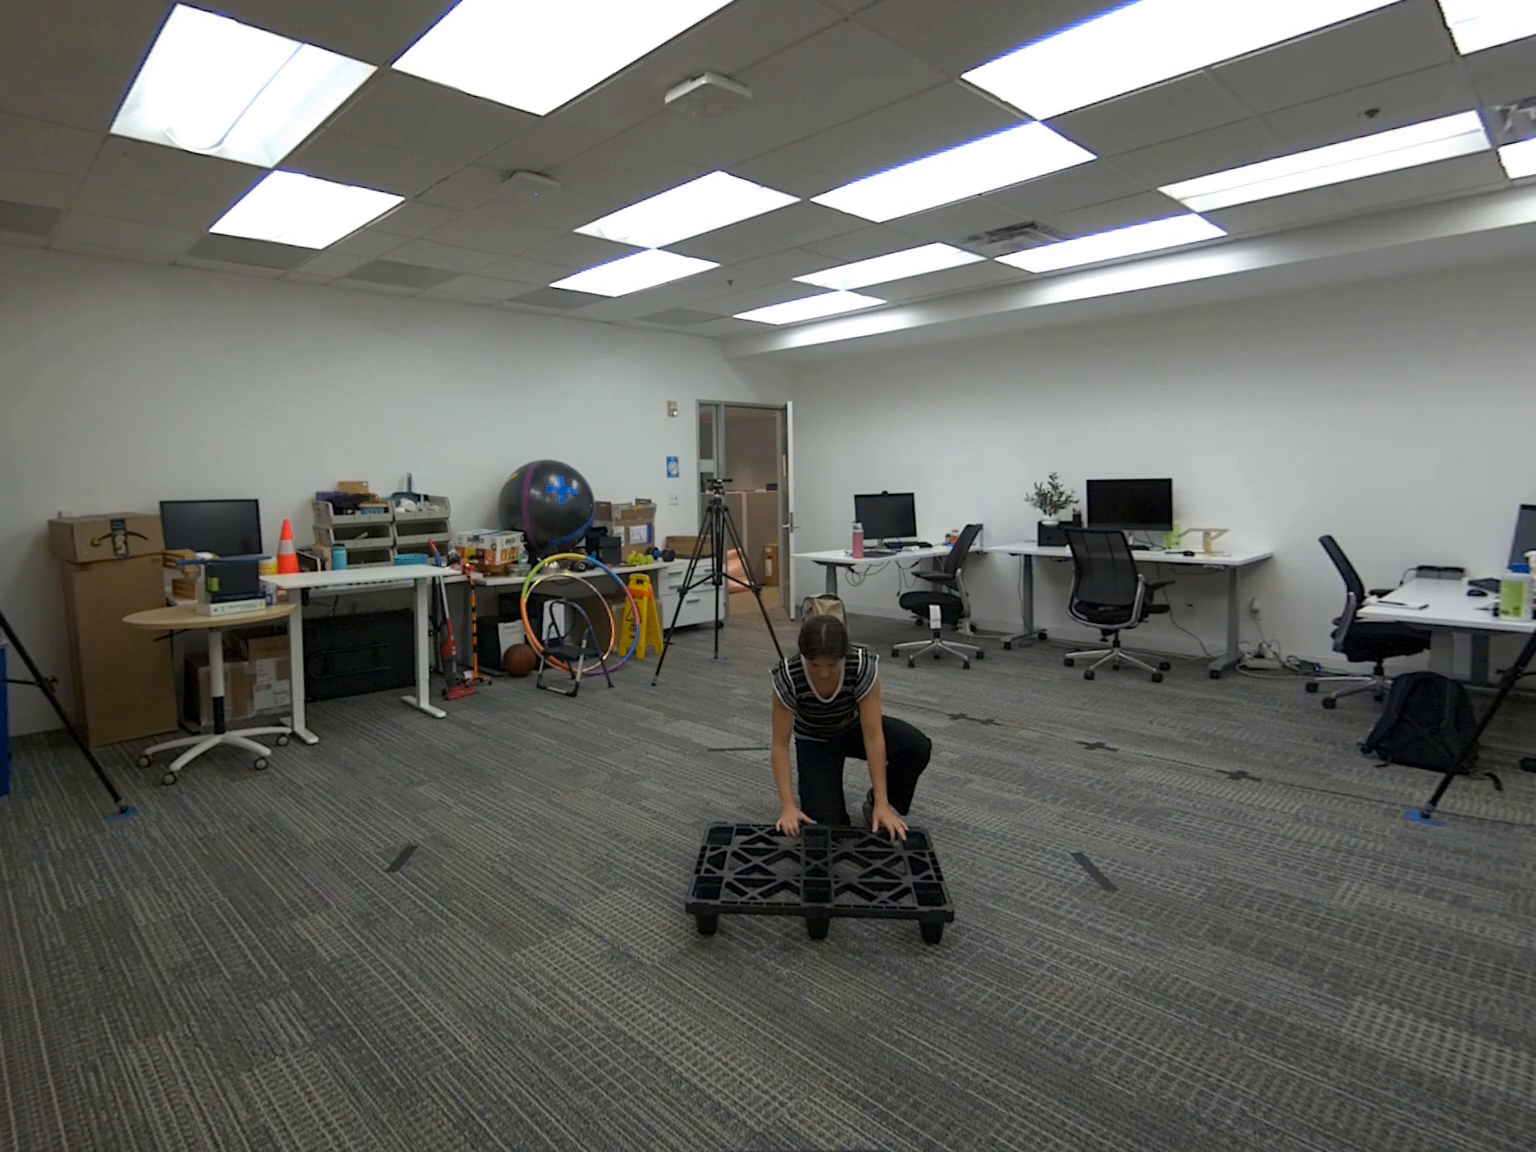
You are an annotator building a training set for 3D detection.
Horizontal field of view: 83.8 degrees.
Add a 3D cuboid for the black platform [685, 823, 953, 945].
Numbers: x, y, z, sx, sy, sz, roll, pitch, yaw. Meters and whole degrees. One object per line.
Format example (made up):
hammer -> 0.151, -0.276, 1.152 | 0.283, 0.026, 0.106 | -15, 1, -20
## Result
black platform -> 0.158, 1.007, 2.820 | 0.810, 0.143, 0.604 | 0, 6, 5
